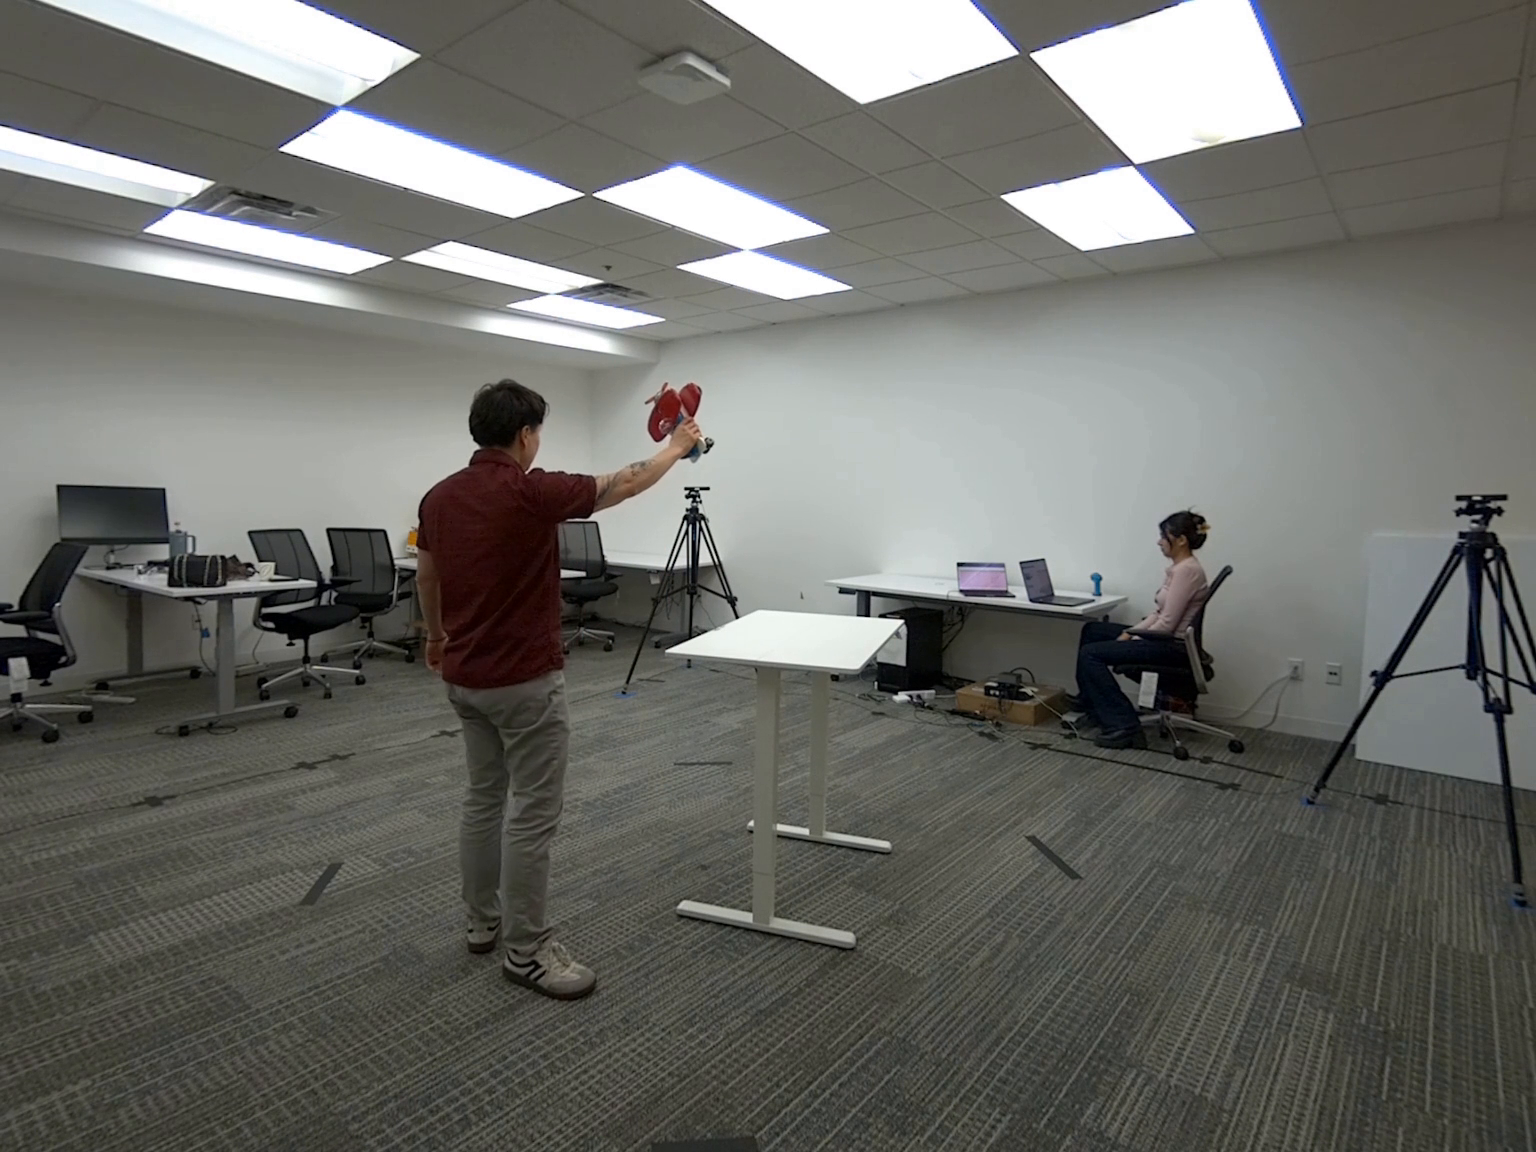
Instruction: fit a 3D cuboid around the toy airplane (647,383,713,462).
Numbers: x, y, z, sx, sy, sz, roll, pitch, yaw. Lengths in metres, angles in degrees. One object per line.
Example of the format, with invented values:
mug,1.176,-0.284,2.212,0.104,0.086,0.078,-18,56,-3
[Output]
toy airplane,-0.280,-0.513,2.764,0.153,0.246,0.270,-7,42,-28
